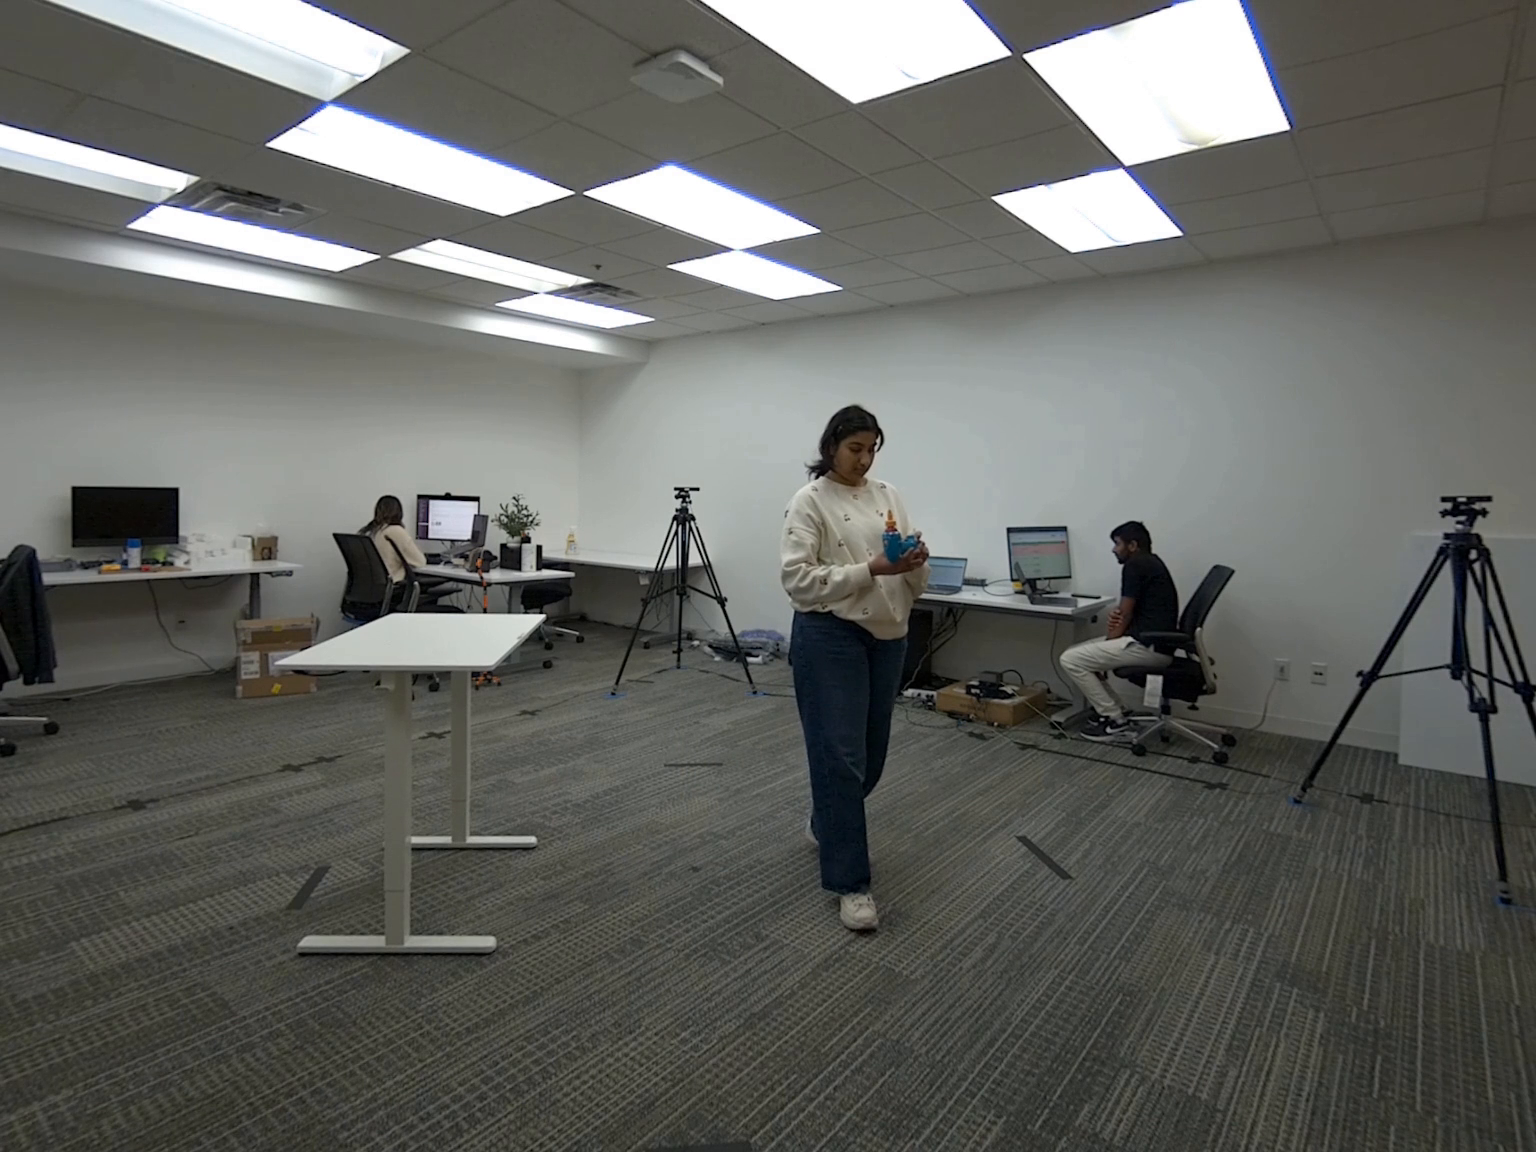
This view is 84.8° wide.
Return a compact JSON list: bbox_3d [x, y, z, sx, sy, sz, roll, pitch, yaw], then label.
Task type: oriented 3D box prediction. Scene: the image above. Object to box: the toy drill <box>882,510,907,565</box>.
[{"bbox_3d":[0.402,-0.132,2.688,0.063,0.169,0.142,-3,3,42],"label":"toy drill"}]
